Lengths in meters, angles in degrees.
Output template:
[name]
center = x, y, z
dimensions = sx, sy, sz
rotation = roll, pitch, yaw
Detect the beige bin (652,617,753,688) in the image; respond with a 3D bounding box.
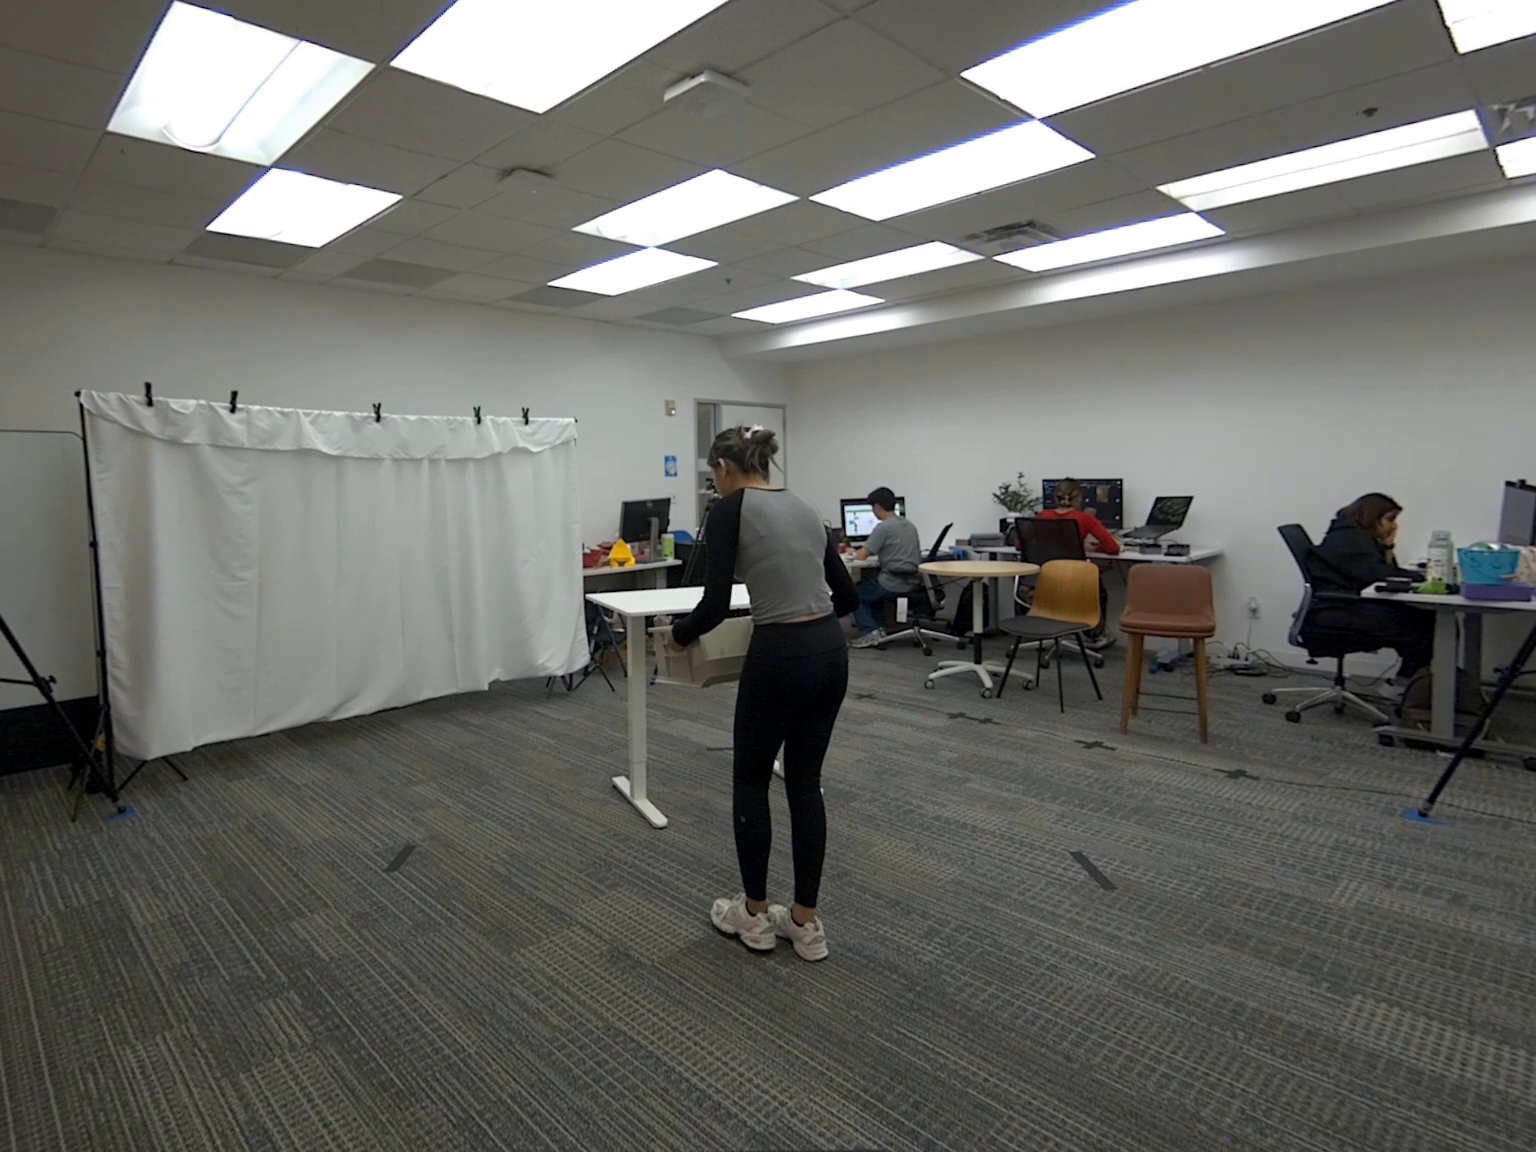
[beige bin]
center = -0.117, 0.240, 2.801
dimensions = 0.412, 0.189, 0.385
rotation = -6, -1, -32
